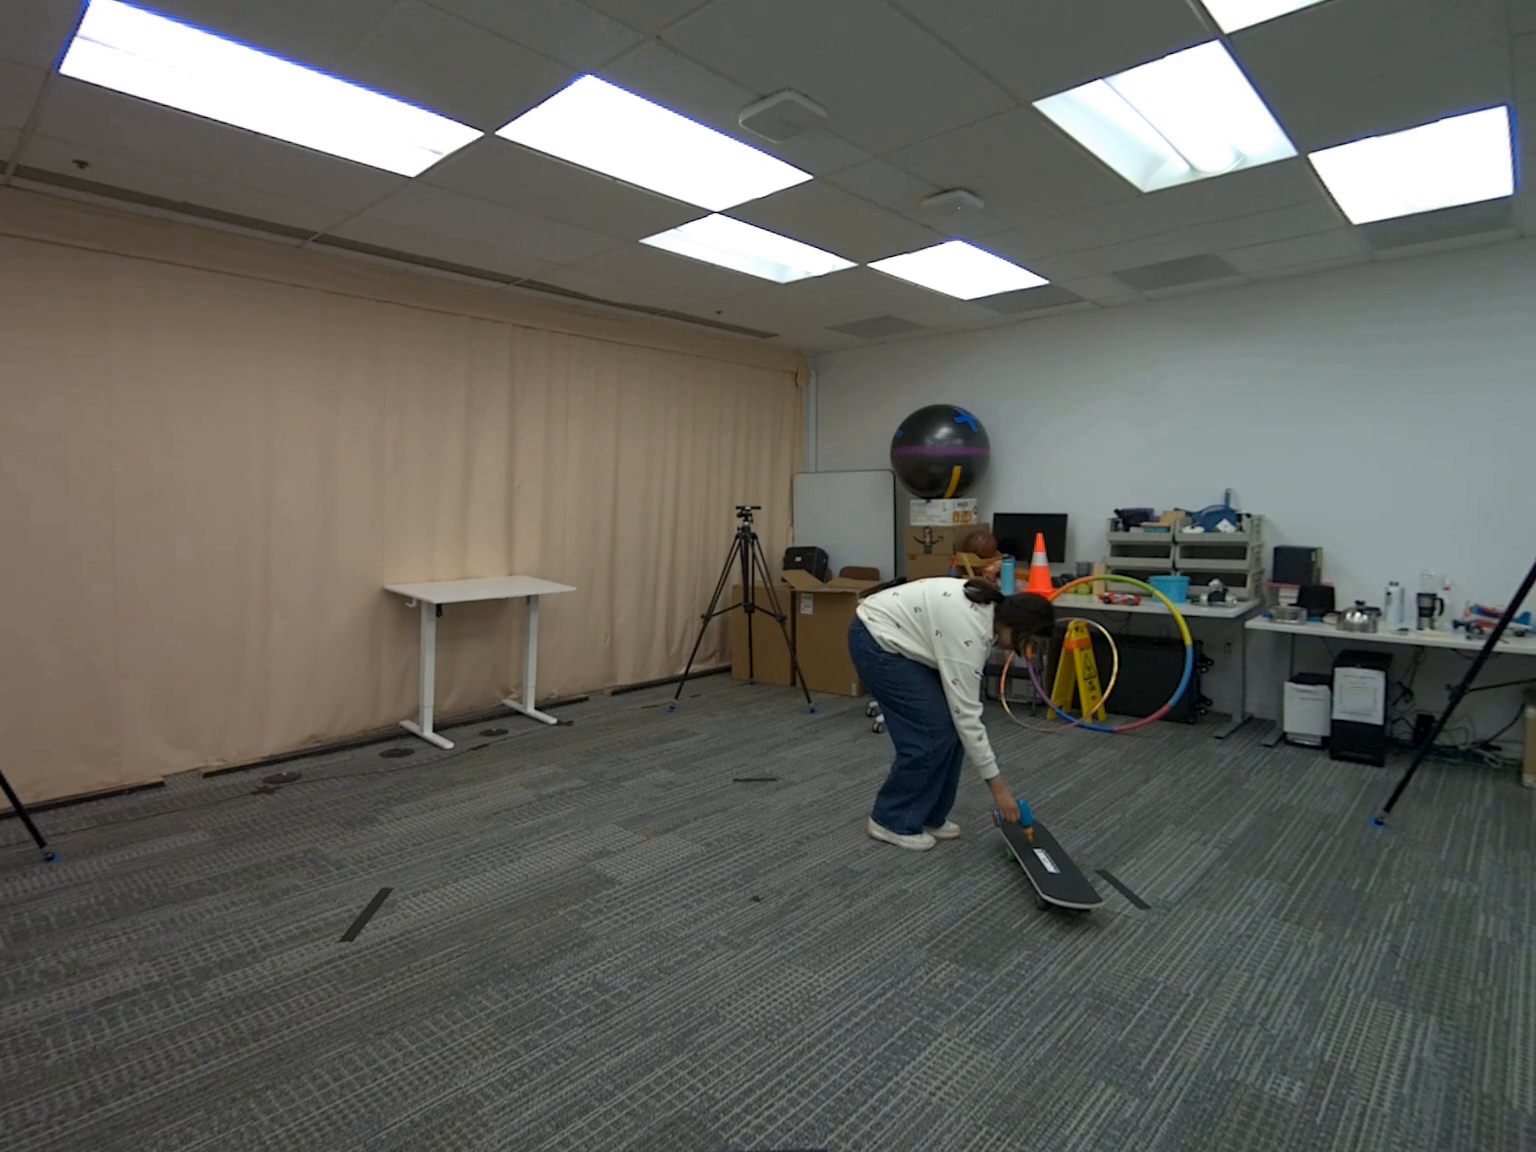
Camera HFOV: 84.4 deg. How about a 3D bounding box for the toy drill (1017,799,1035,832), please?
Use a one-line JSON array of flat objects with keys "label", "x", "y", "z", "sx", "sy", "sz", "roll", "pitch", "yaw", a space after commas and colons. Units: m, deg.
[{"label": "toy drill", "x": 0.965, "y": 0.948, "z": 3.246, "sx": 0.147, "sy": 0.169, "sz": 0.061, "roll": -15, "pitch": 3, "yaw": 5}]
